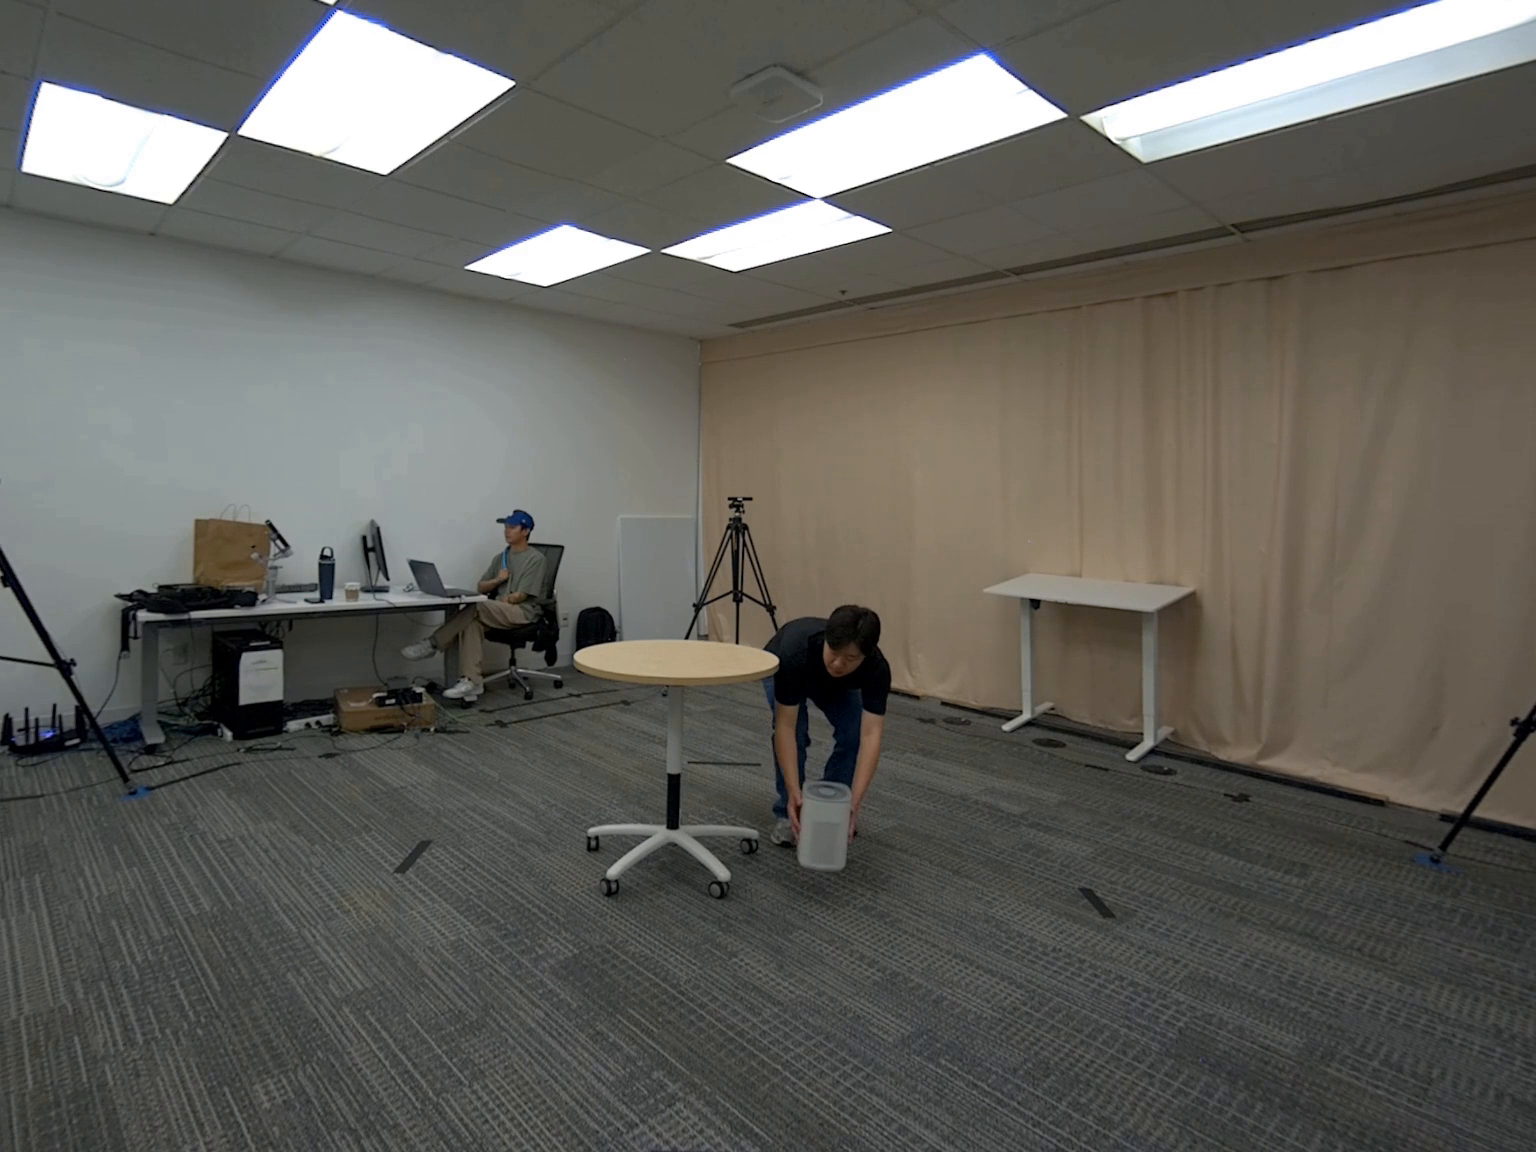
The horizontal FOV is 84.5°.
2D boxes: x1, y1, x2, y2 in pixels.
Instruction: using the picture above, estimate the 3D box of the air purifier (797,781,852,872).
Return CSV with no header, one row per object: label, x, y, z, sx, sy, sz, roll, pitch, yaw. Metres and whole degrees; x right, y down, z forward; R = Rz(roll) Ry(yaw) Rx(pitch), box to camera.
air purifier,0.187,0.883,2.976,0.172,0.264,0.172,5,7,1
